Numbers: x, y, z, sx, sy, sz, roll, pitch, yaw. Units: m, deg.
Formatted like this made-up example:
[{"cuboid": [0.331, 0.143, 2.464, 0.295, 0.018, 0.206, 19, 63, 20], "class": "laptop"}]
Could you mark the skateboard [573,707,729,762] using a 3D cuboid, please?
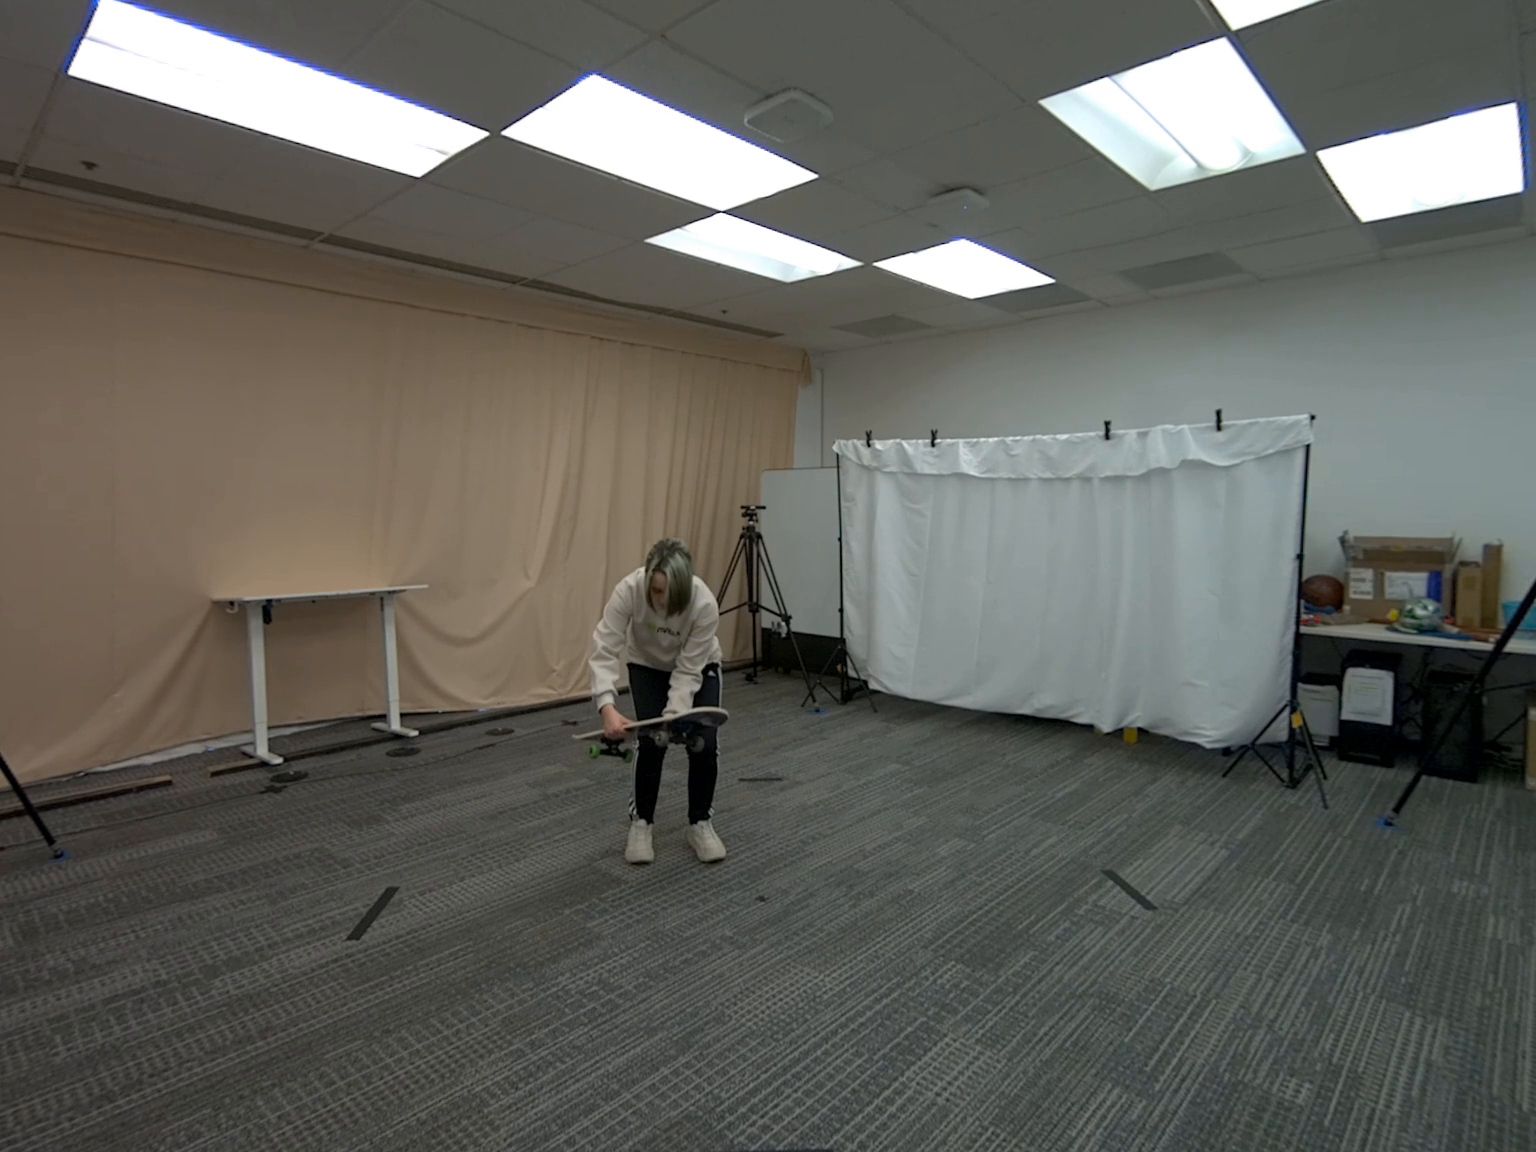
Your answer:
[{"cuboid": [-0.437, 0.576, 2.968, 0.187, 0.112, 0.804, 19, -27, -39], "class": "skateboard"}]
